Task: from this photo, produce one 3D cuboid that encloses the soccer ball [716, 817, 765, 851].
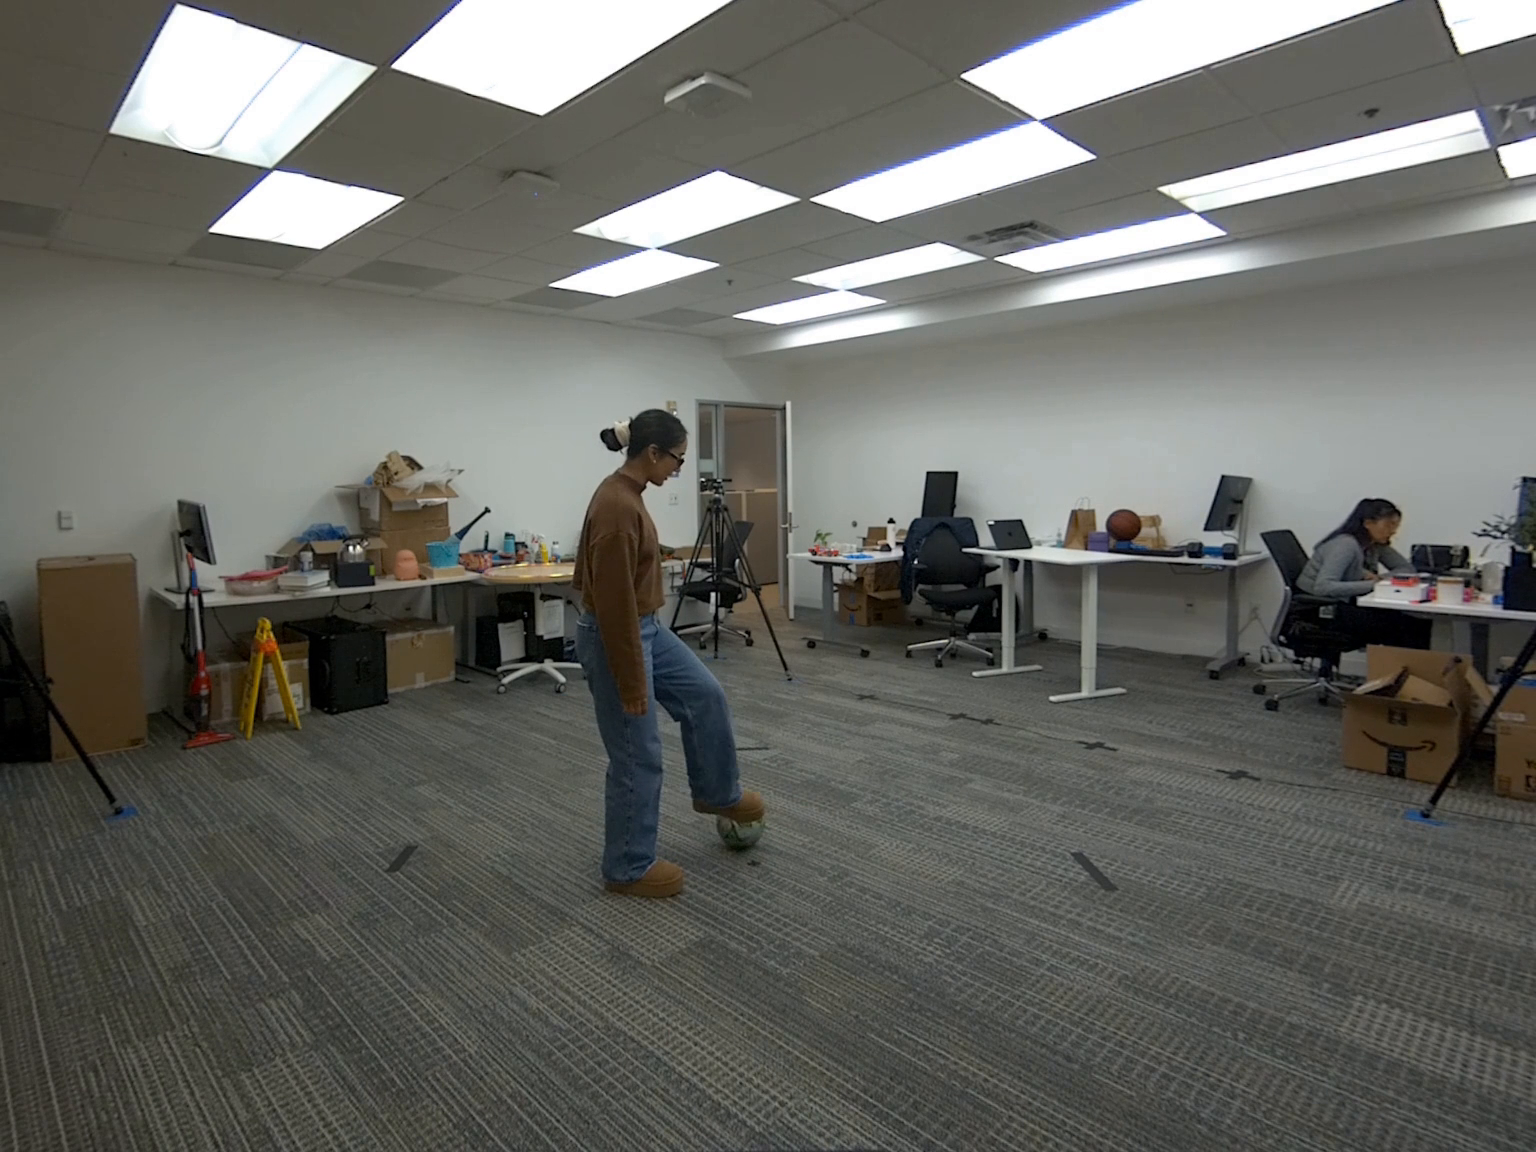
[{"bbox_3d":[-0.102,0.934,3.249,0.187,0.187,0.188,-1,5,-2],"label":"soccer ball"}]
